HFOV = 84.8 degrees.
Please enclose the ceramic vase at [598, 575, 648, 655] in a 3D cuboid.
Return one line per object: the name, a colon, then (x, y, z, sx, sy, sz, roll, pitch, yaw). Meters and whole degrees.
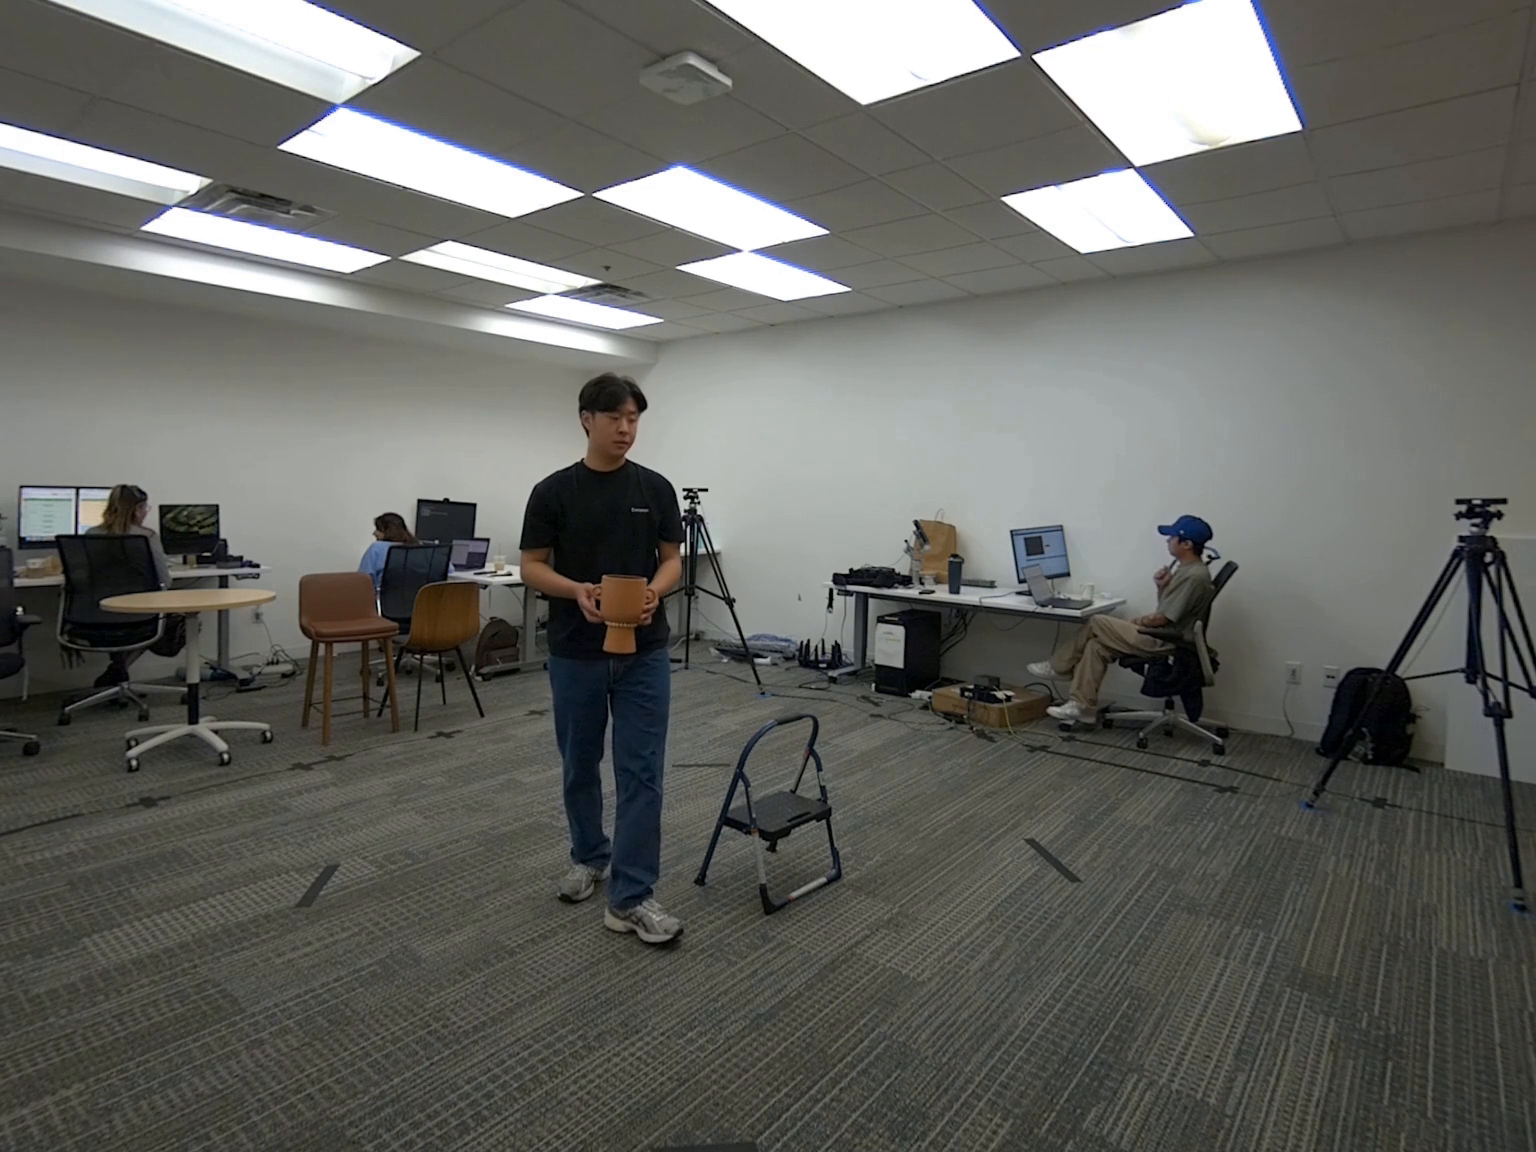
ceramic vase: (-0.447, 0.108, 2.531, 0.163, 0.219, 0.131, 5, 1, 24)
